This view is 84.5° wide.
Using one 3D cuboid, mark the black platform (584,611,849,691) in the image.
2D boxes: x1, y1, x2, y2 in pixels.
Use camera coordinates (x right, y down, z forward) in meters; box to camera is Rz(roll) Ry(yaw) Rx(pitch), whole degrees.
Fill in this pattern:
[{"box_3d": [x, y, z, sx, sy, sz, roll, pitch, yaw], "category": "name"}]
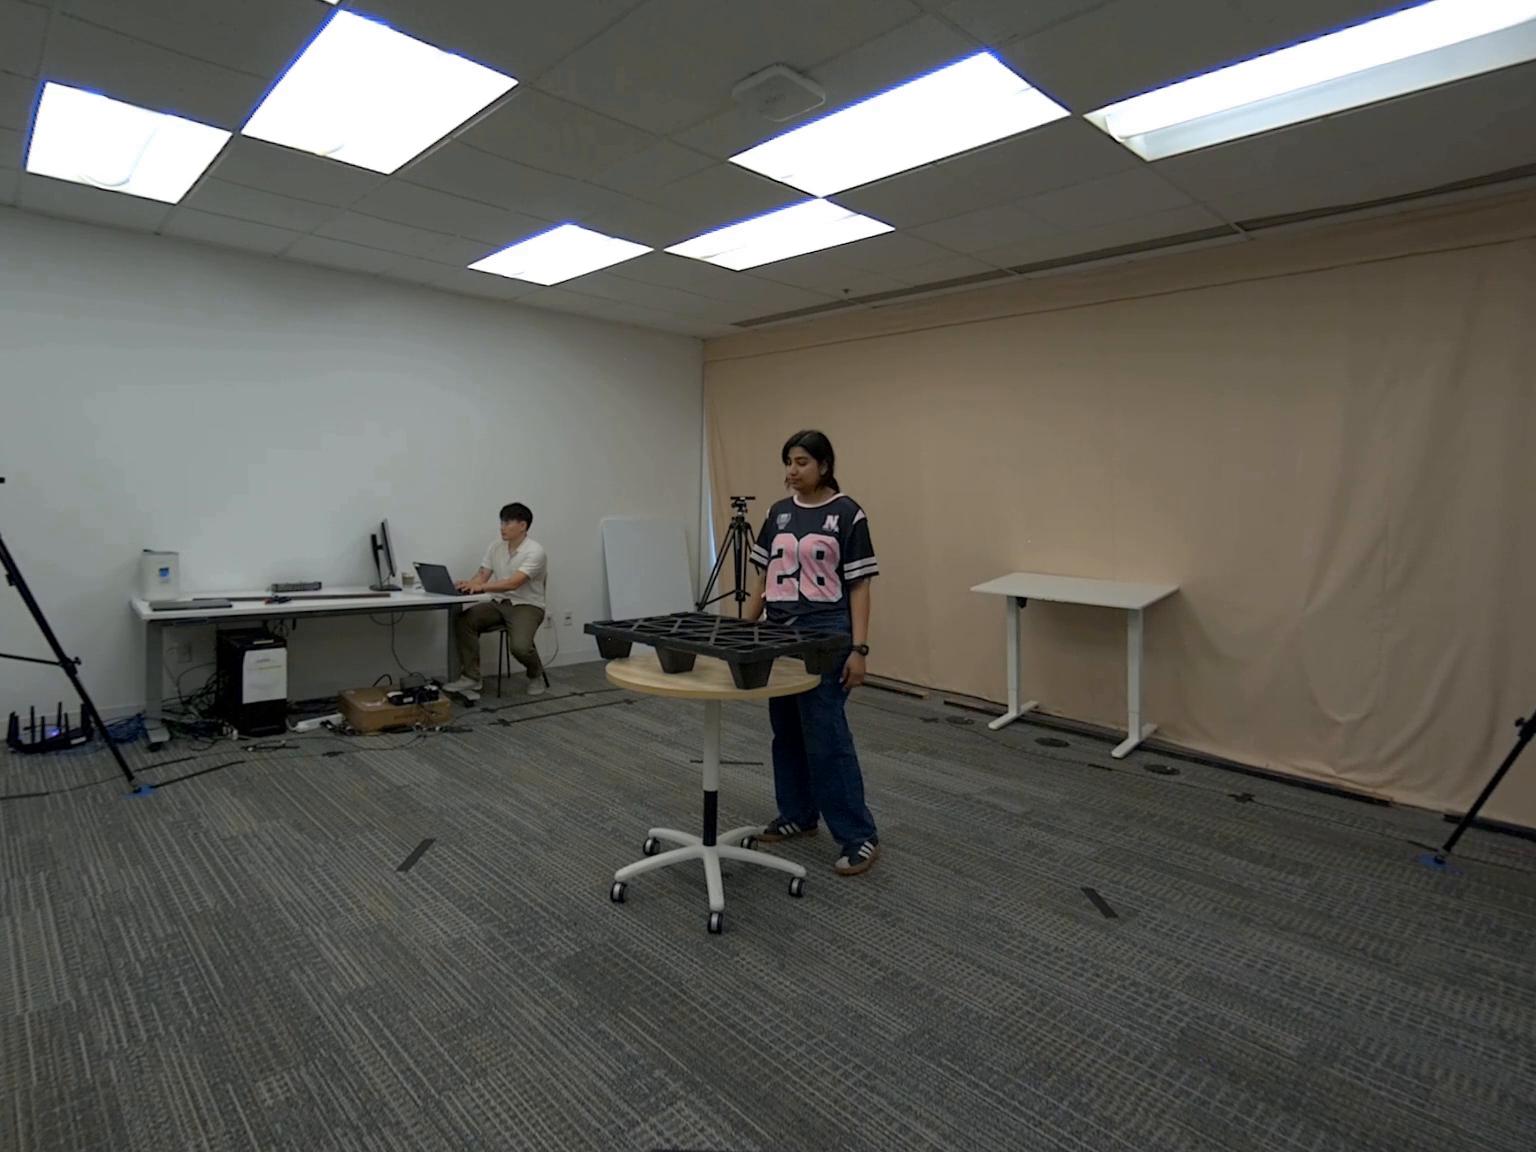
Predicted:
[{"box_3d": [-0.202, 0.261, 3.065, 0.826, 0.143, 0.591, 6, 6, 41], "category": "black platform"}]
